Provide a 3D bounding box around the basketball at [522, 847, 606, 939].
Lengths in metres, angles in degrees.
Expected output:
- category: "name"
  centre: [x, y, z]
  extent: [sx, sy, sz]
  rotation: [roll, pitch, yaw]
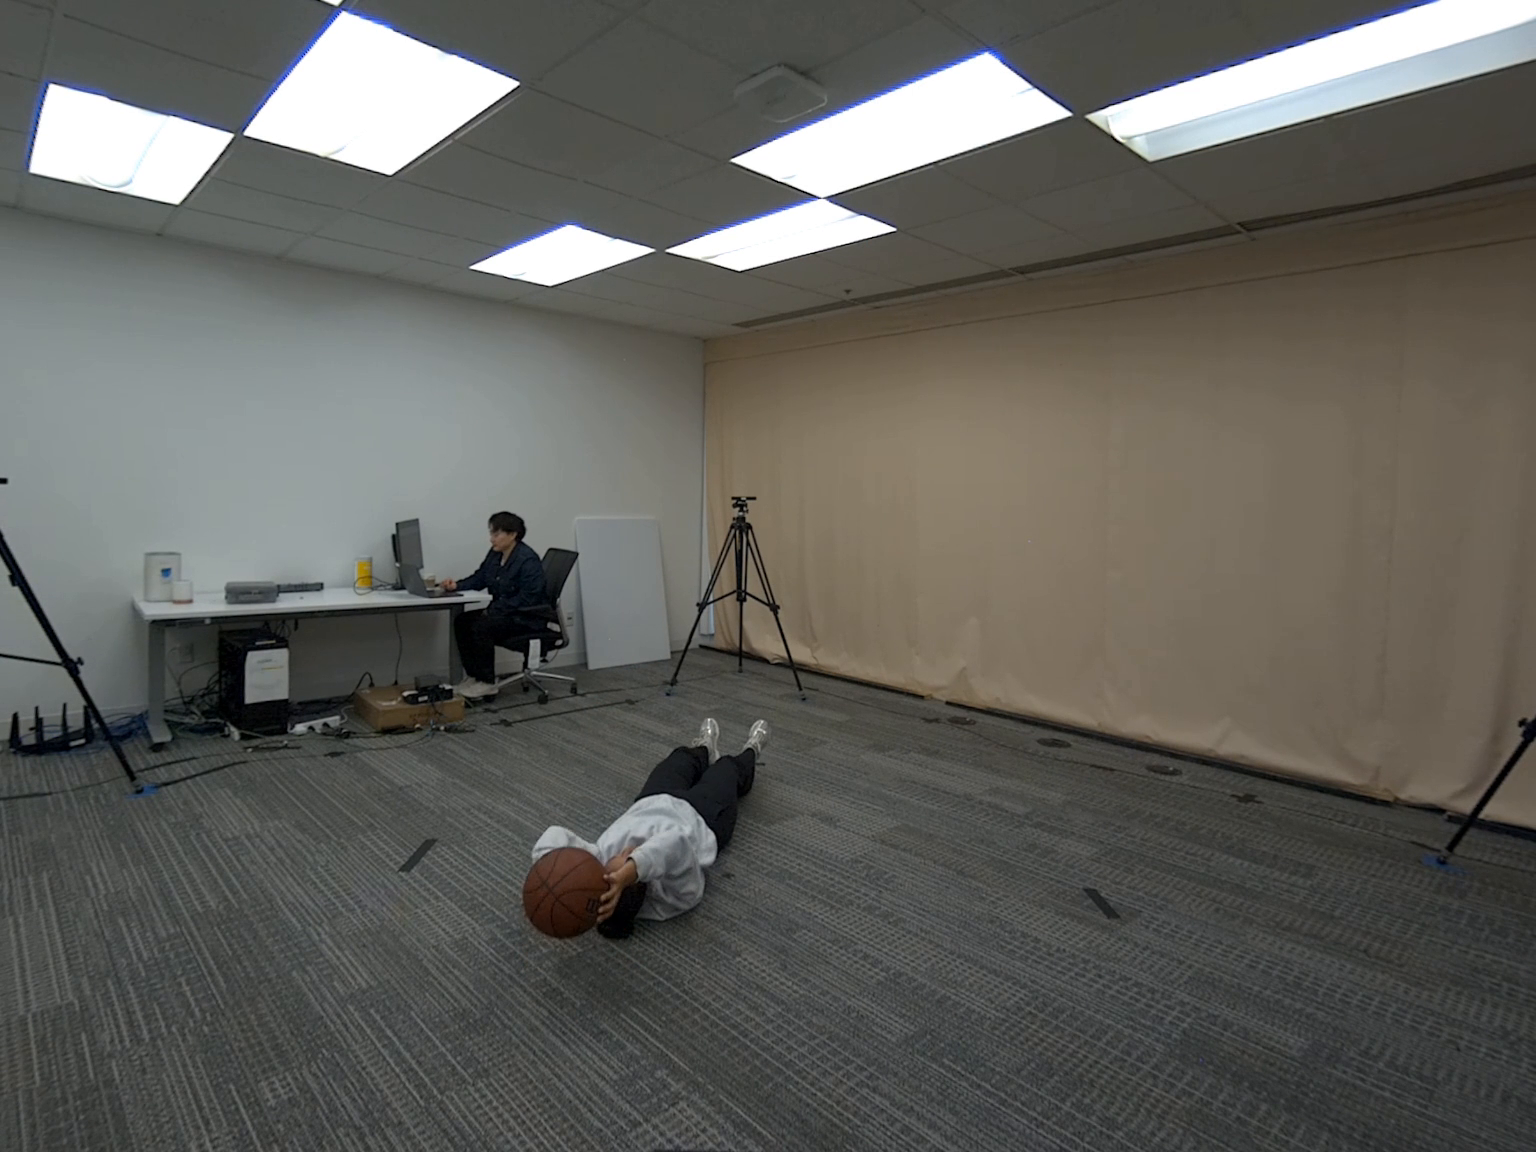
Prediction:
- category: "basketball"
  centre: [-0.568, 0.881, 2.353]
  extent: [0.236, 0.235, 0.237]
  rotation: [1, 5, -1]
